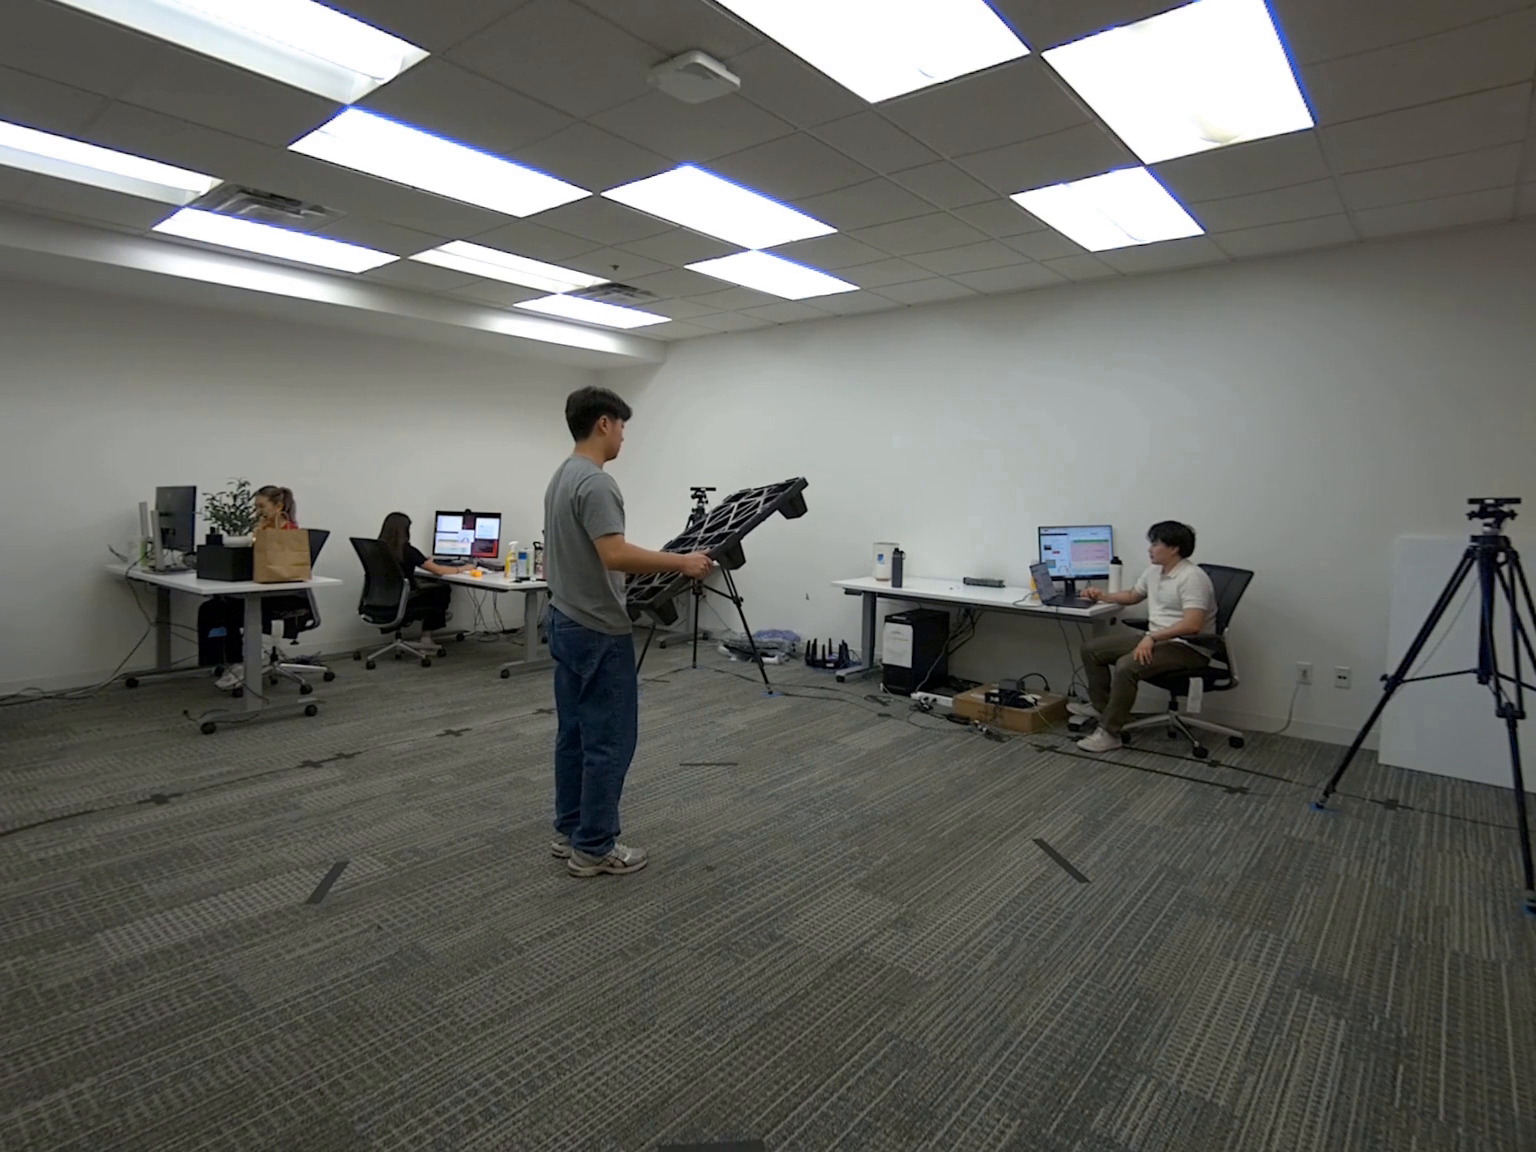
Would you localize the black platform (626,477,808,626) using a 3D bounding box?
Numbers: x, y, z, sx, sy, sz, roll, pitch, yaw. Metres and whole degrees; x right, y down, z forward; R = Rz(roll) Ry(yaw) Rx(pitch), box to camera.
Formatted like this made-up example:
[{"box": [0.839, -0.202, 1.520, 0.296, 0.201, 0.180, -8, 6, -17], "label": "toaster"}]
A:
[{"box": [-0.247, -0.099, 3.358, 0.802, 0.140, 0.619, -41, 17, -22], "label": "black platform"}]
